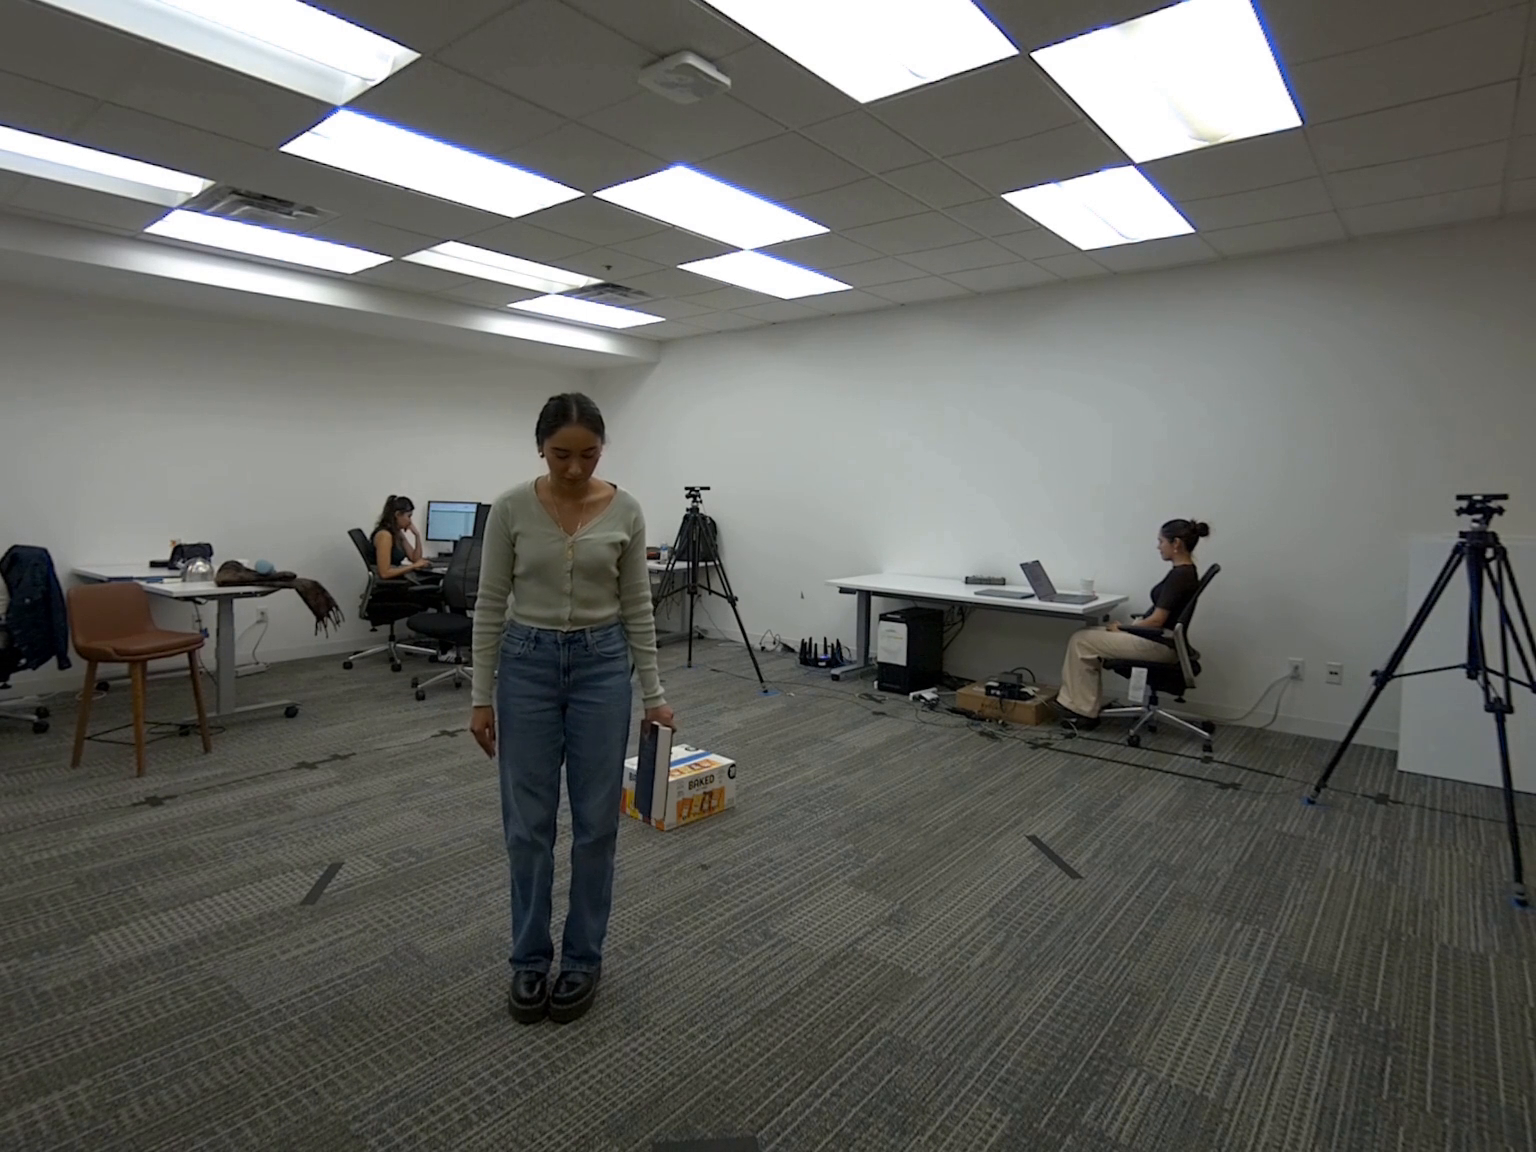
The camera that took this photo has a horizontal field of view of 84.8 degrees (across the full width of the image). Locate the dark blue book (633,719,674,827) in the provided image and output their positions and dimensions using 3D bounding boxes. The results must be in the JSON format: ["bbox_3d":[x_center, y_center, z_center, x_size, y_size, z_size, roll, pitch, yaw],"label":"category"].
[{"bbox_3d":[-0.329,0.533,2.334,0.044,0.246,0.166,4,-3,-22],"label":"dark blue book"}]
